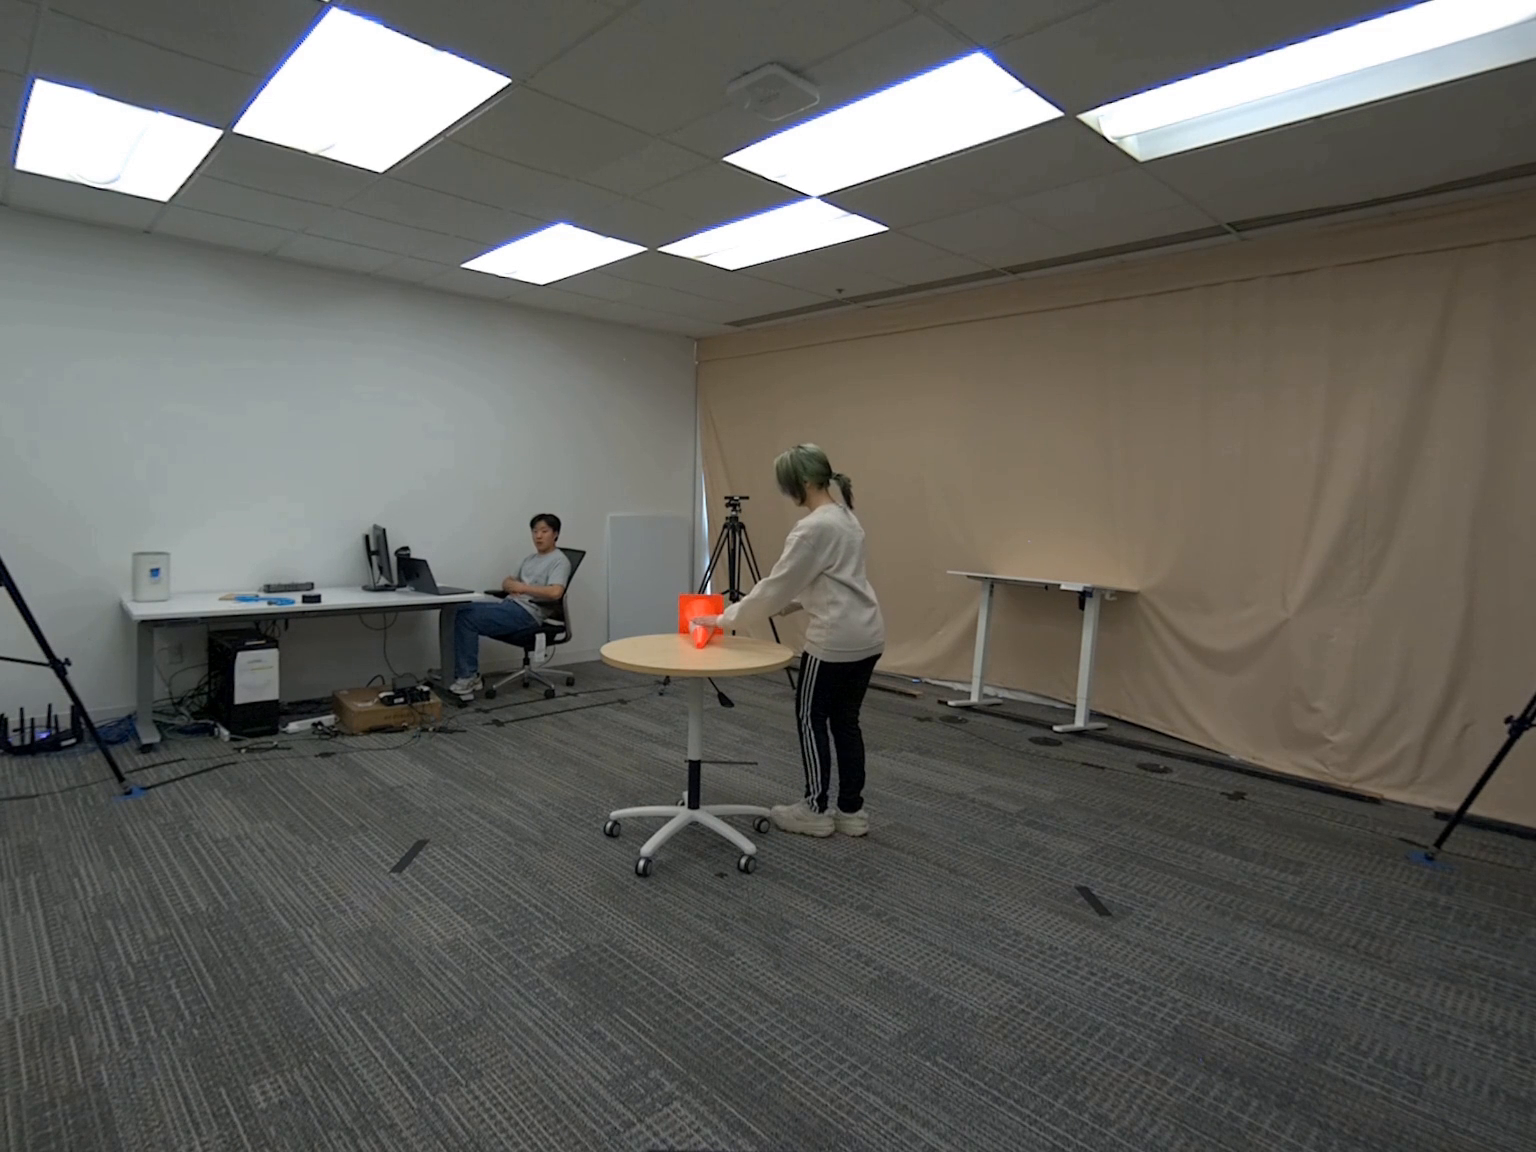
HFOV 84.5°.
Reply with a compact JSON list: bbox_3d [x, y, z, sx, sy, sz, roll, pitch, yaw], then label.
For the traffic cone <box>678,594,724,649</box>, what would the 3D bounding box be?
[{"bbox_3d":[-0.289,0.236,3.550,0.203,0.202,0.389,-6,19,0],"label":"traffic cone"}]
